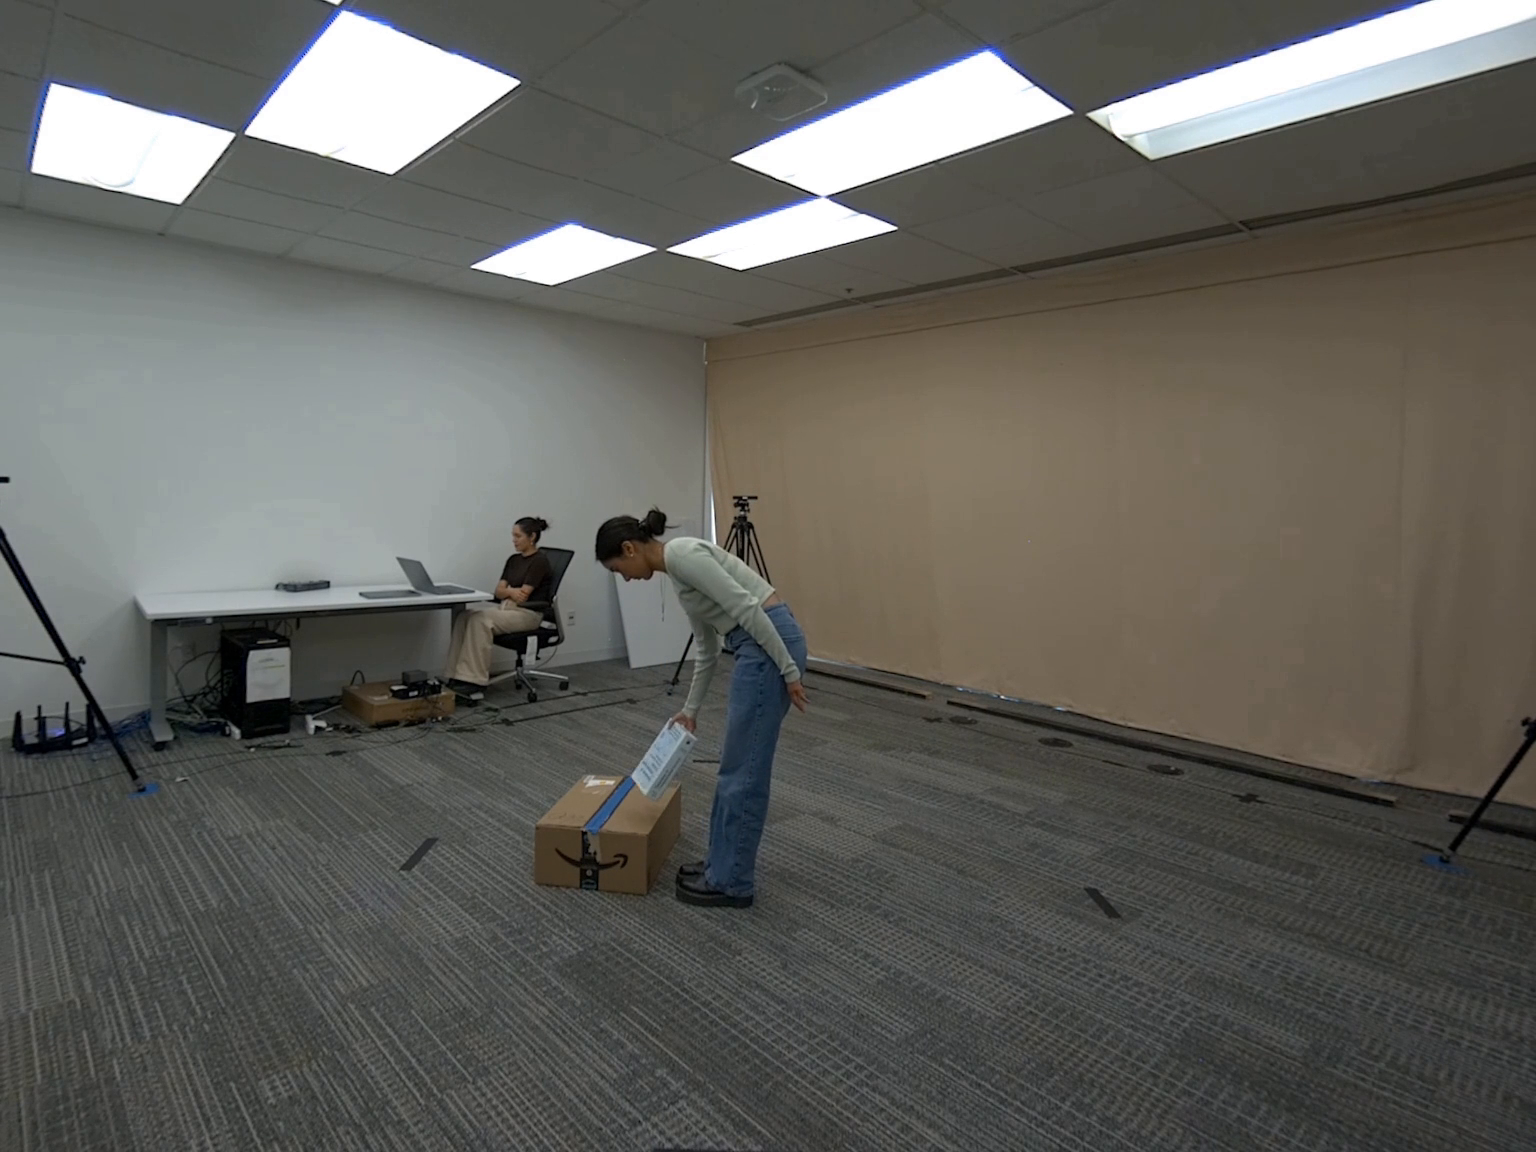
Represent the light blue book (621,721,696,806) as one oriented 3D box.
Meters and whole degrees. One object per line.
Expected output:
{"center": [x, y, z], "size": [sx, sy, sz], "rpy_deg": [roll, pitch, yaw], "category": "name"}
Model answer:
{"center": [-0.386, 0.677, 3.102], "size": [0.058, 0.261, 0.195], "rpy_deg": [36, -7, -24], "category": "light blue book"}
